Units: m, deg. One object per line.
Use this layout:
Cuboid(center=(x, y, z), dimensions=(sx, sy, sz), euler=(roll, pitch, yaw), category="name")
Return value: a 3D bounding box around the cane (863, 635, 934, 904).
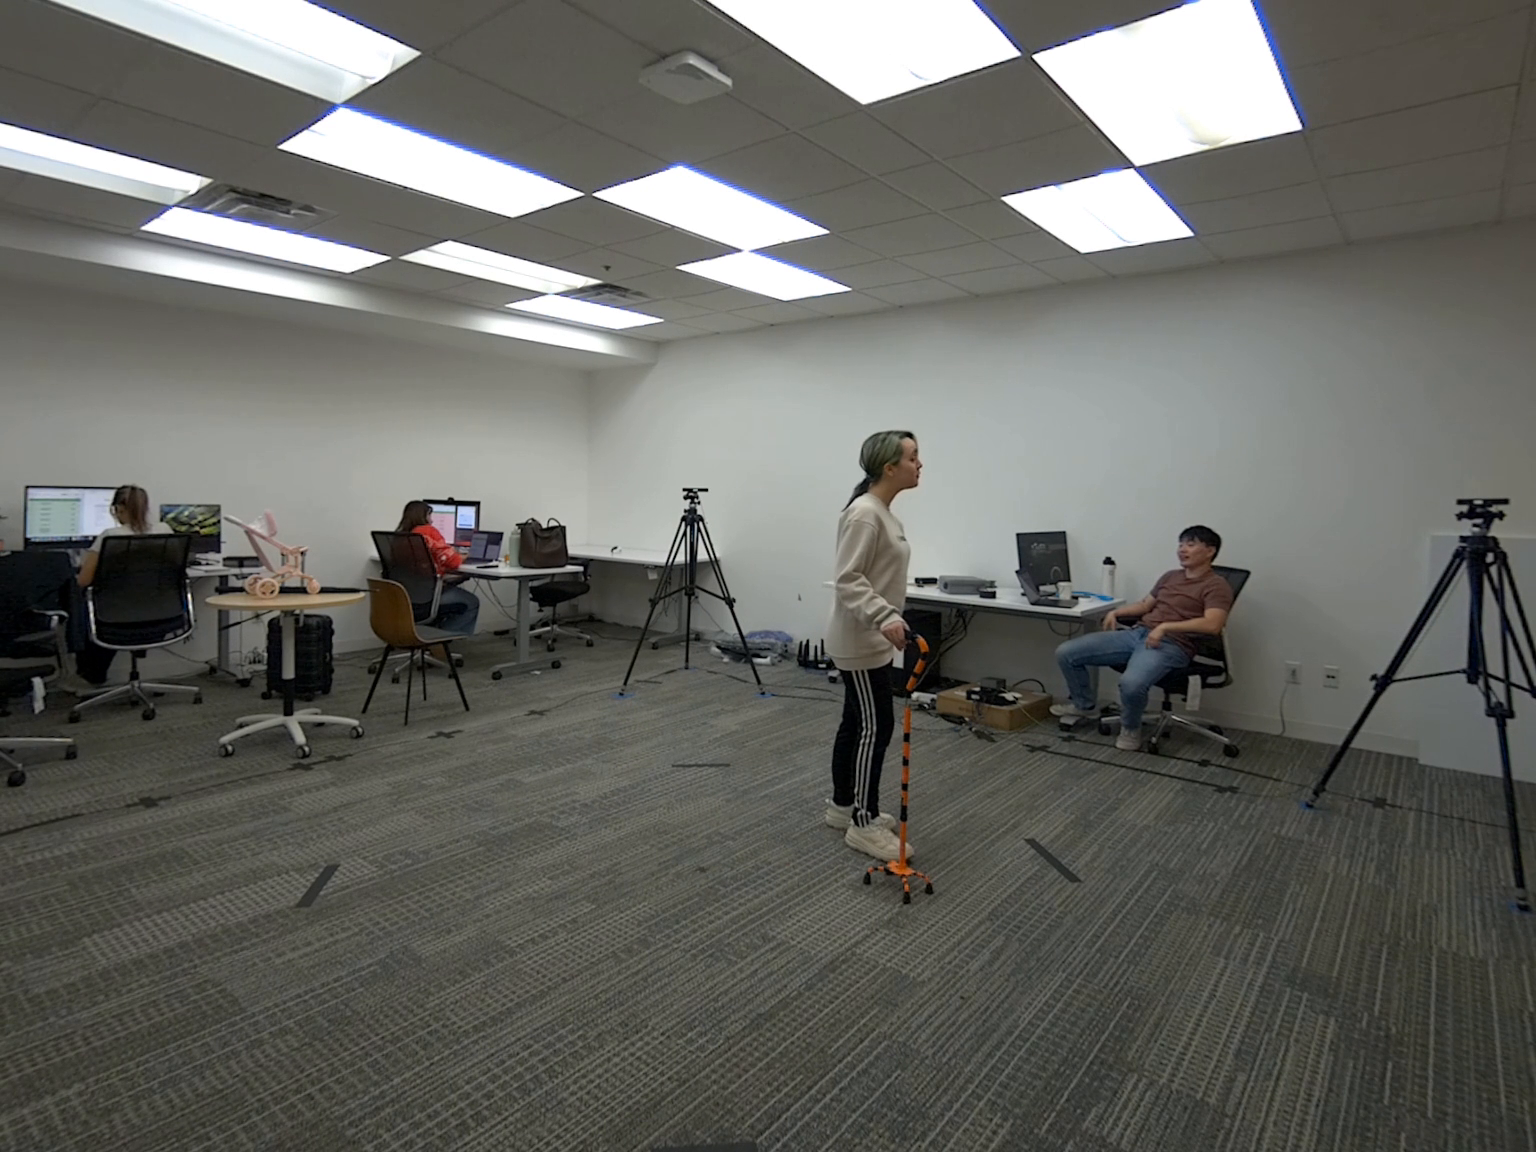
Cuboid(center=(0.464, 0.645, 2.976), dimensions=(0.147, 0.905, 0.213), euler=(-3, 5, -43), category="cane")
